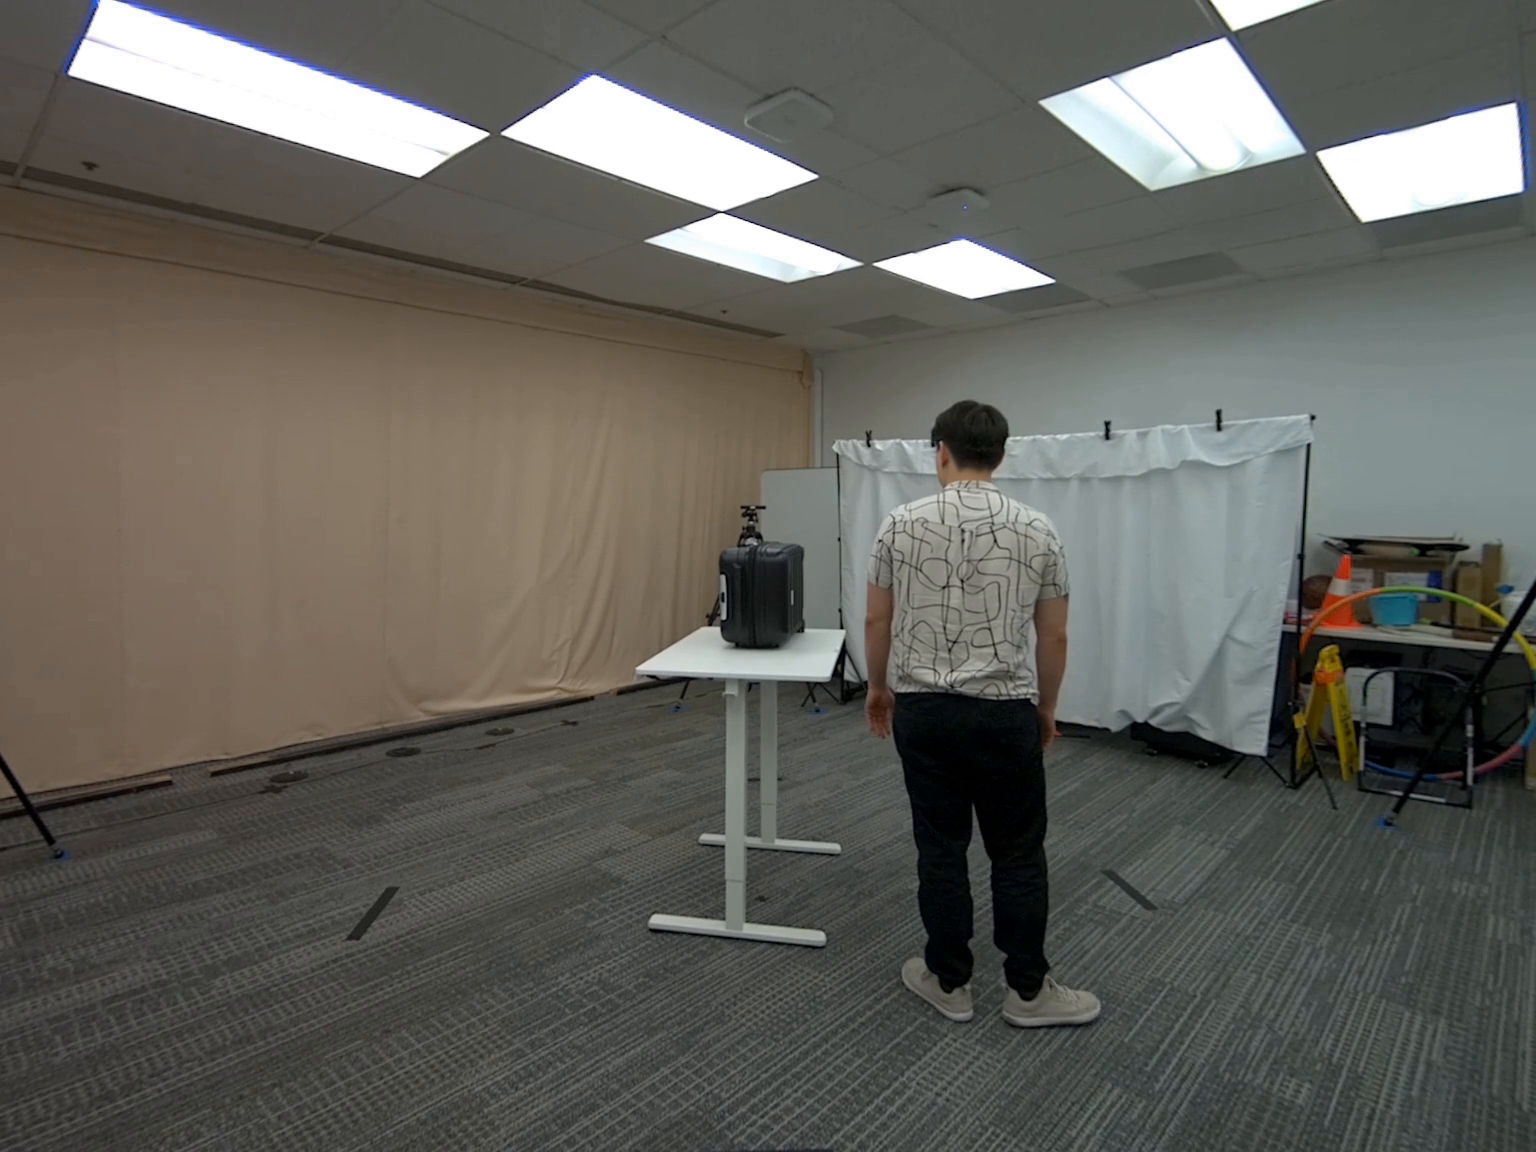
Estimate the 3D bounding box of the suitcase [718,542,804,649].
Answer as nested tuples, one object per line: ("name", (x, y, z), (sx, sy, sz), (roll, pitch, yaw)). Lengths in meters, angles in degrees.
("suitcase", (-0.014, 0.053, 3.175), (0.251, 0.375, 0.543), (1, 3, 10))
